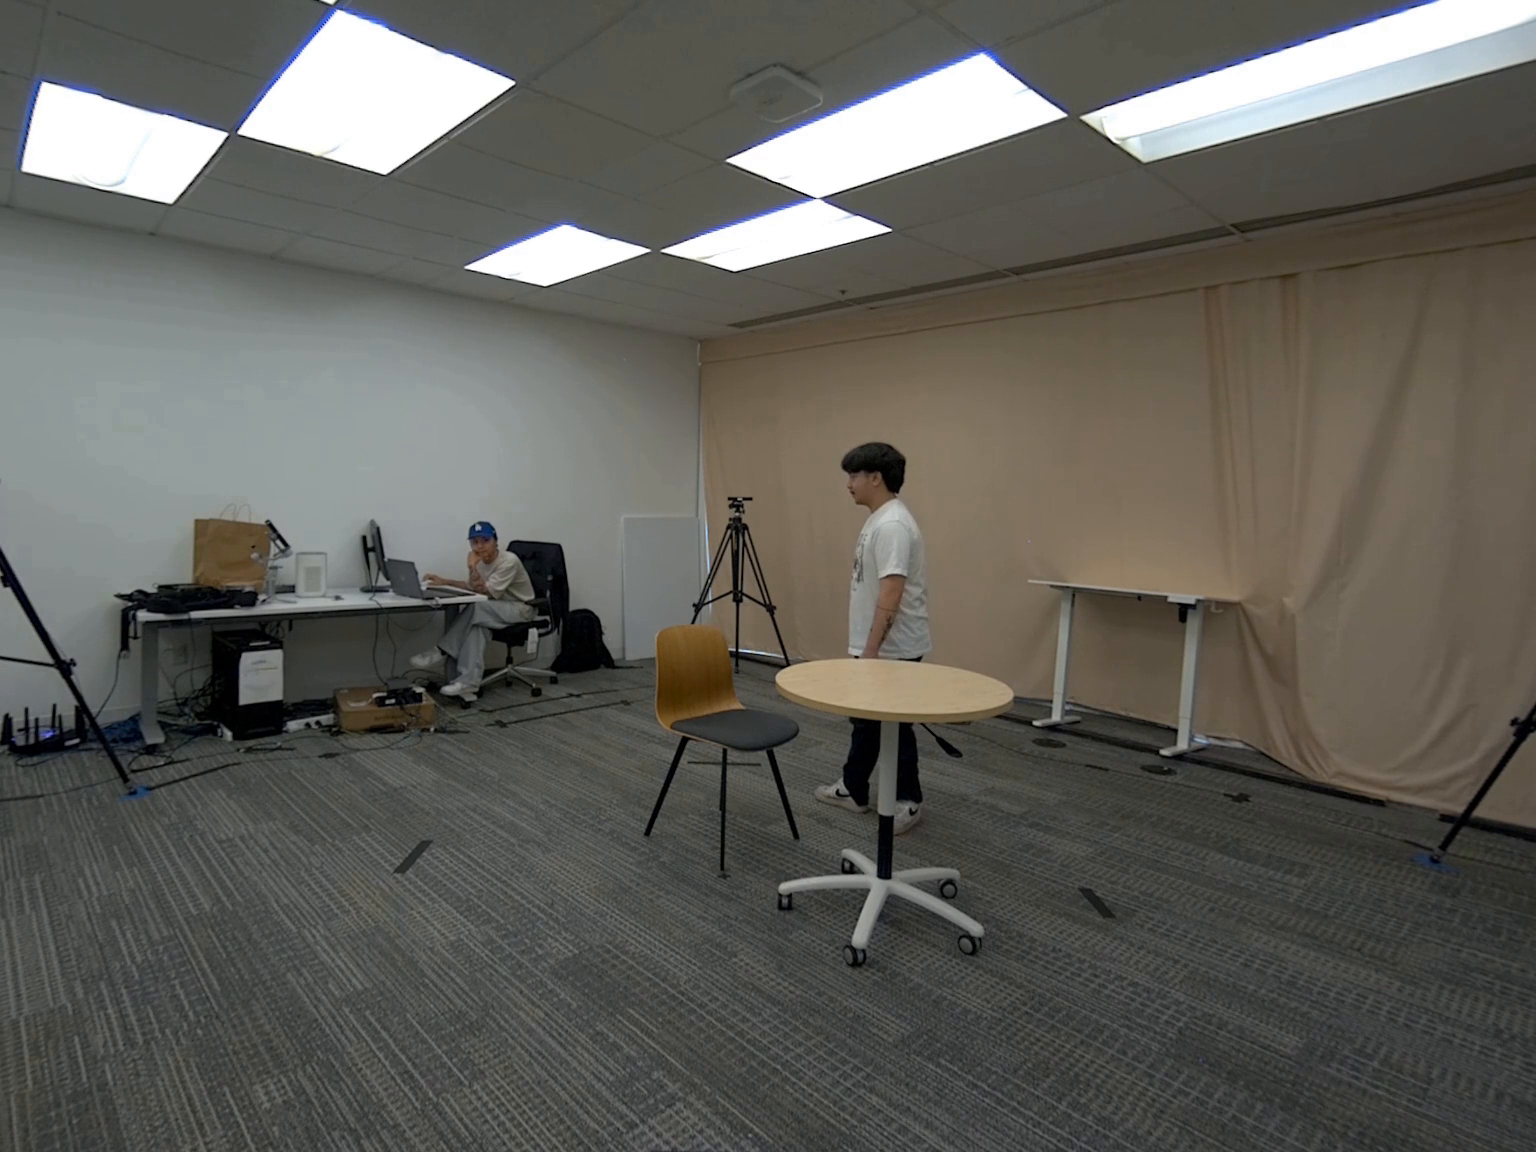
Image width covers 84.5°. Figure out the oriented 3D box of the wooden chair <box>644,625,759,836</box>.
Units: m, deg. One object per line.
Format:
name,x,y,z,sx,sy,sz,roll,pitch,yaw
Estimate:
wooden chair,-0.181,0.651,3.424,0.535,0.878,0.467,-2,0,44
